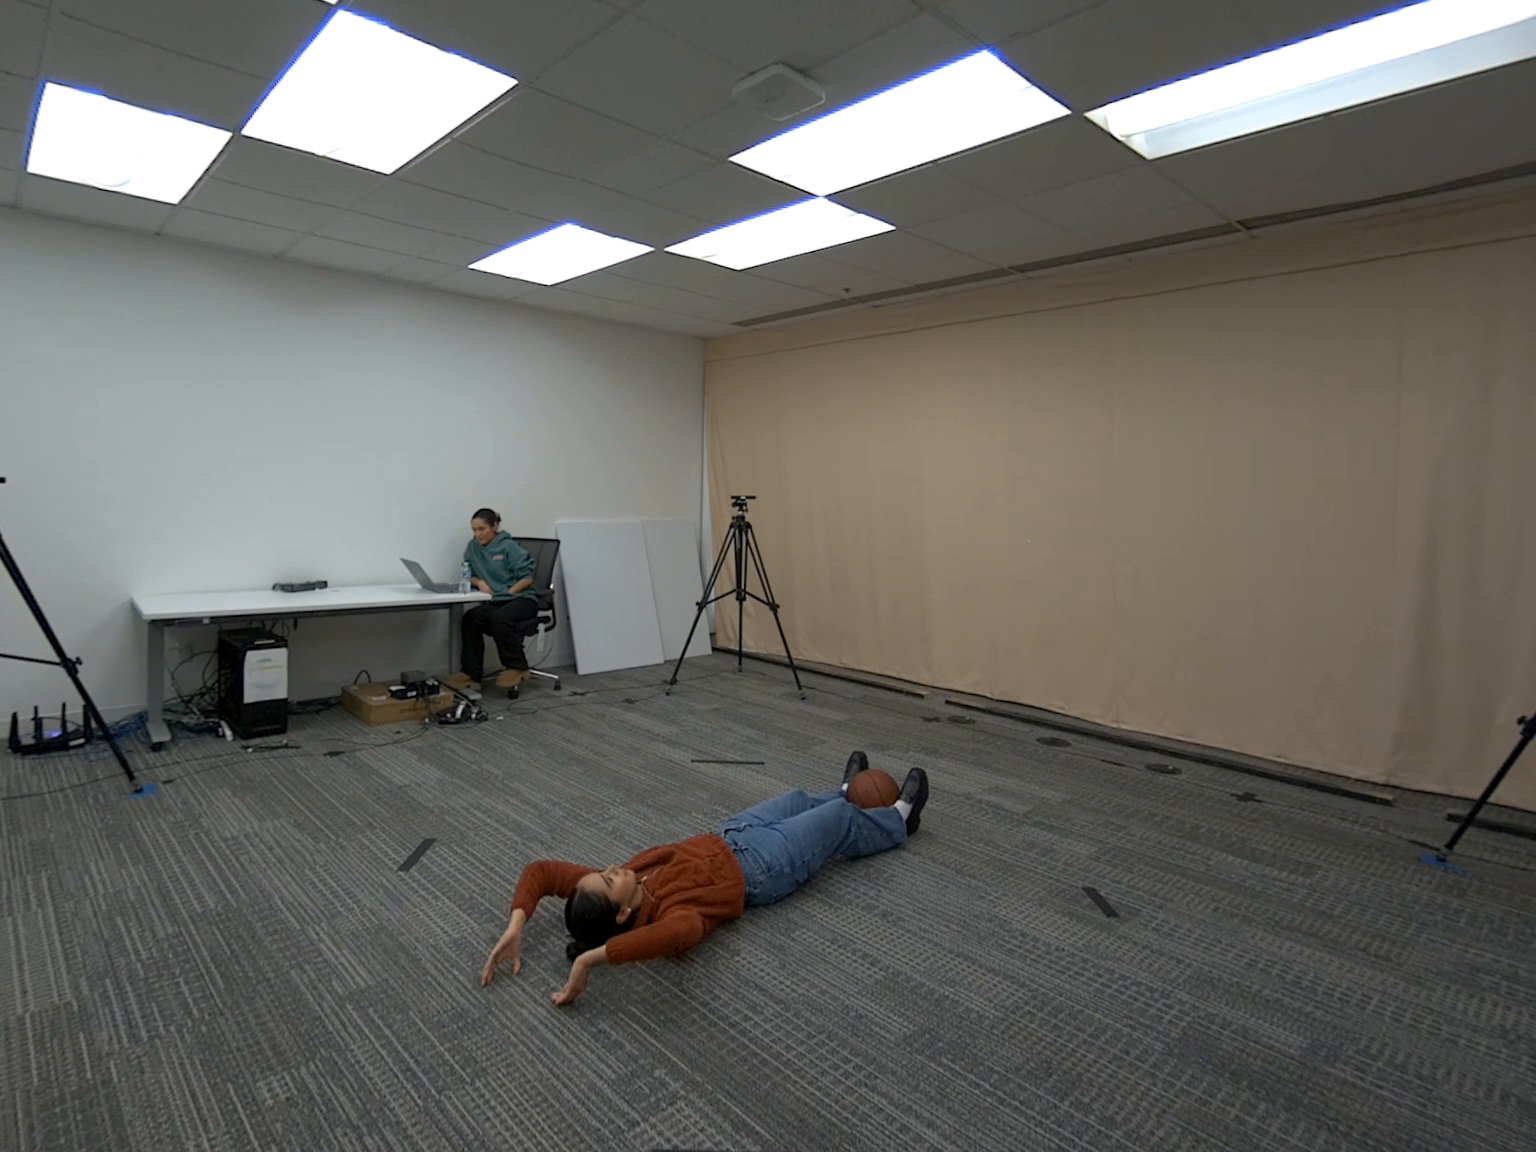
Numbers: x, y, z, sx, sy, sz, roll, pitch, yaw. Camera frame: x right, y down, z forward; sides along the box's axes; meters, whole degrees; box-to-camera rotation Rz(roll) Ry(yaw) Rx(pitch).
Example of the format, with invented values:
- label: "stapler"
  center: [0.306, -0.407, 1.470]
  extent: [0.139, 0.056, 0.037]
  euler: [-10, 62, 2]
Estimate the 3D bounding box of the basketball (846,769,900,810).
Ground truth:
- label: "basketball"
  center: [0.437, 0.942, 3.590]
  extent: [0.236, 0.234, 0.237]
  euler: [0, 8, -1]
